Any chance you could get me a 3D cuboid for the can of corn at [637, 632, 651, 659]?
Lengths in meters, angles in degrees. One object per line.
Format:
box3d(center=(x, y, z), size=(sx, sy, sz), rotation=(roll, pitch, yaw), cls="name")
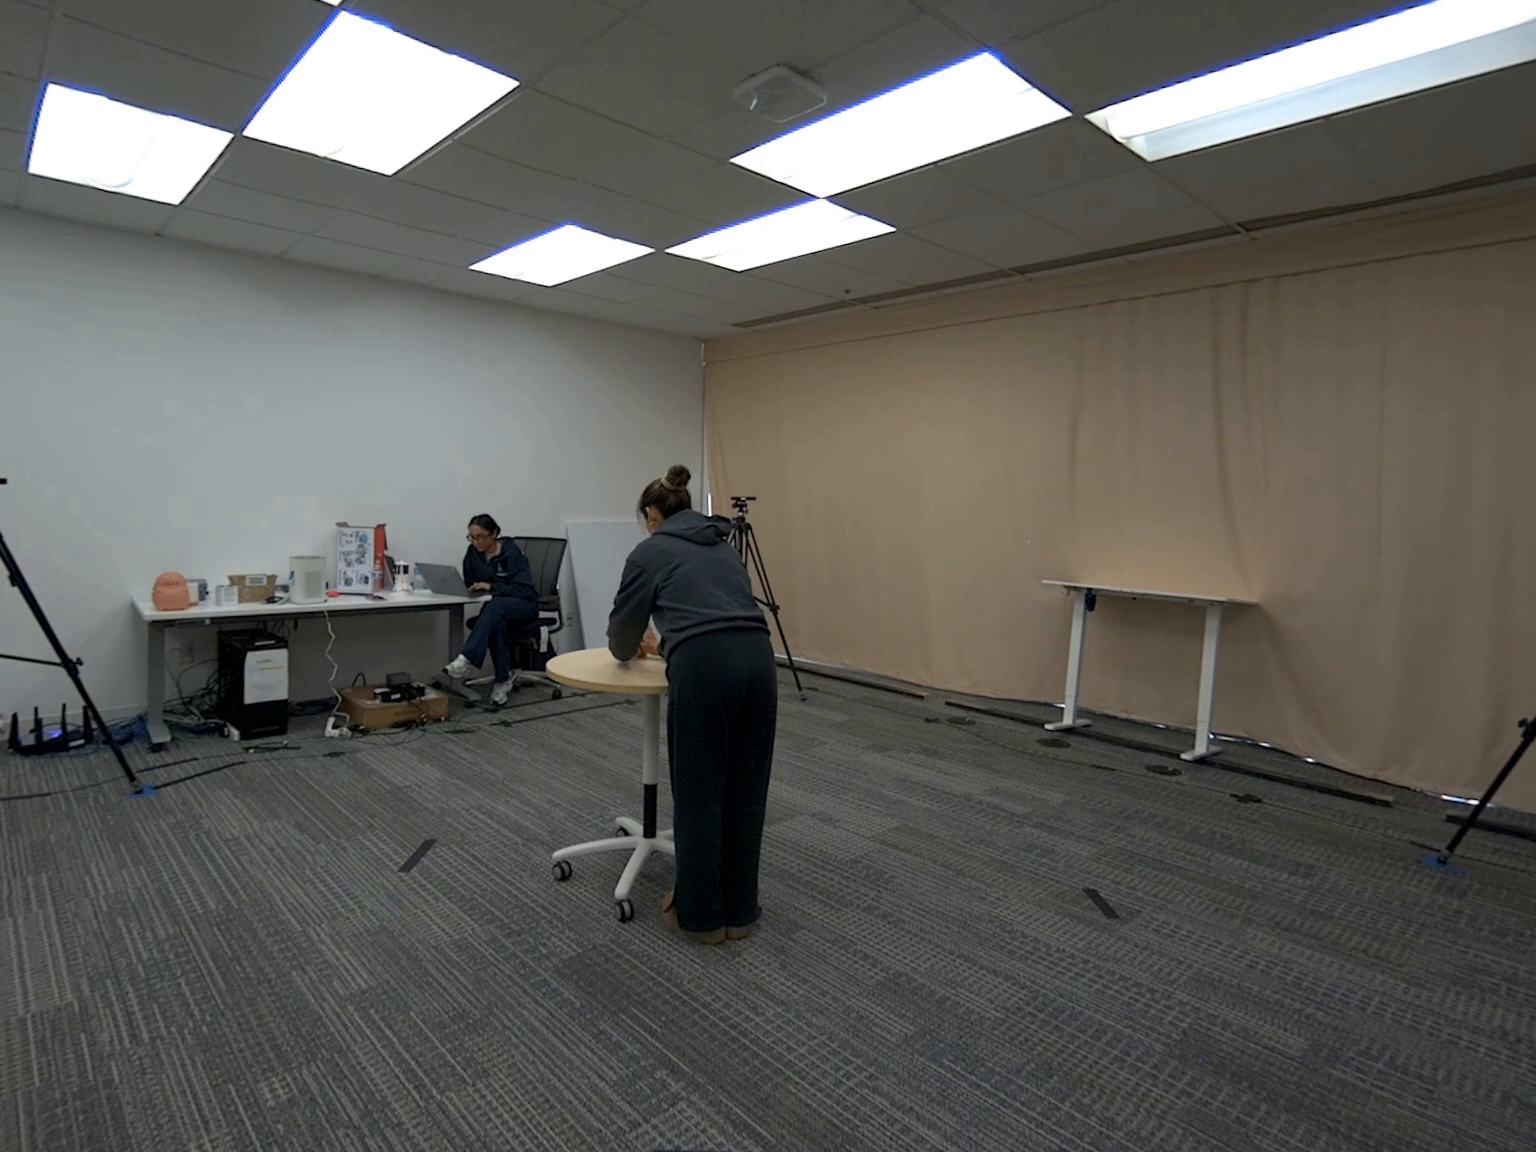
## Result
box3d(center=(-0.500, 0.251, 3.215), size=(0.074, 0.111, 0.074), rotation=(1, 3, -1), cls="can of corn")
